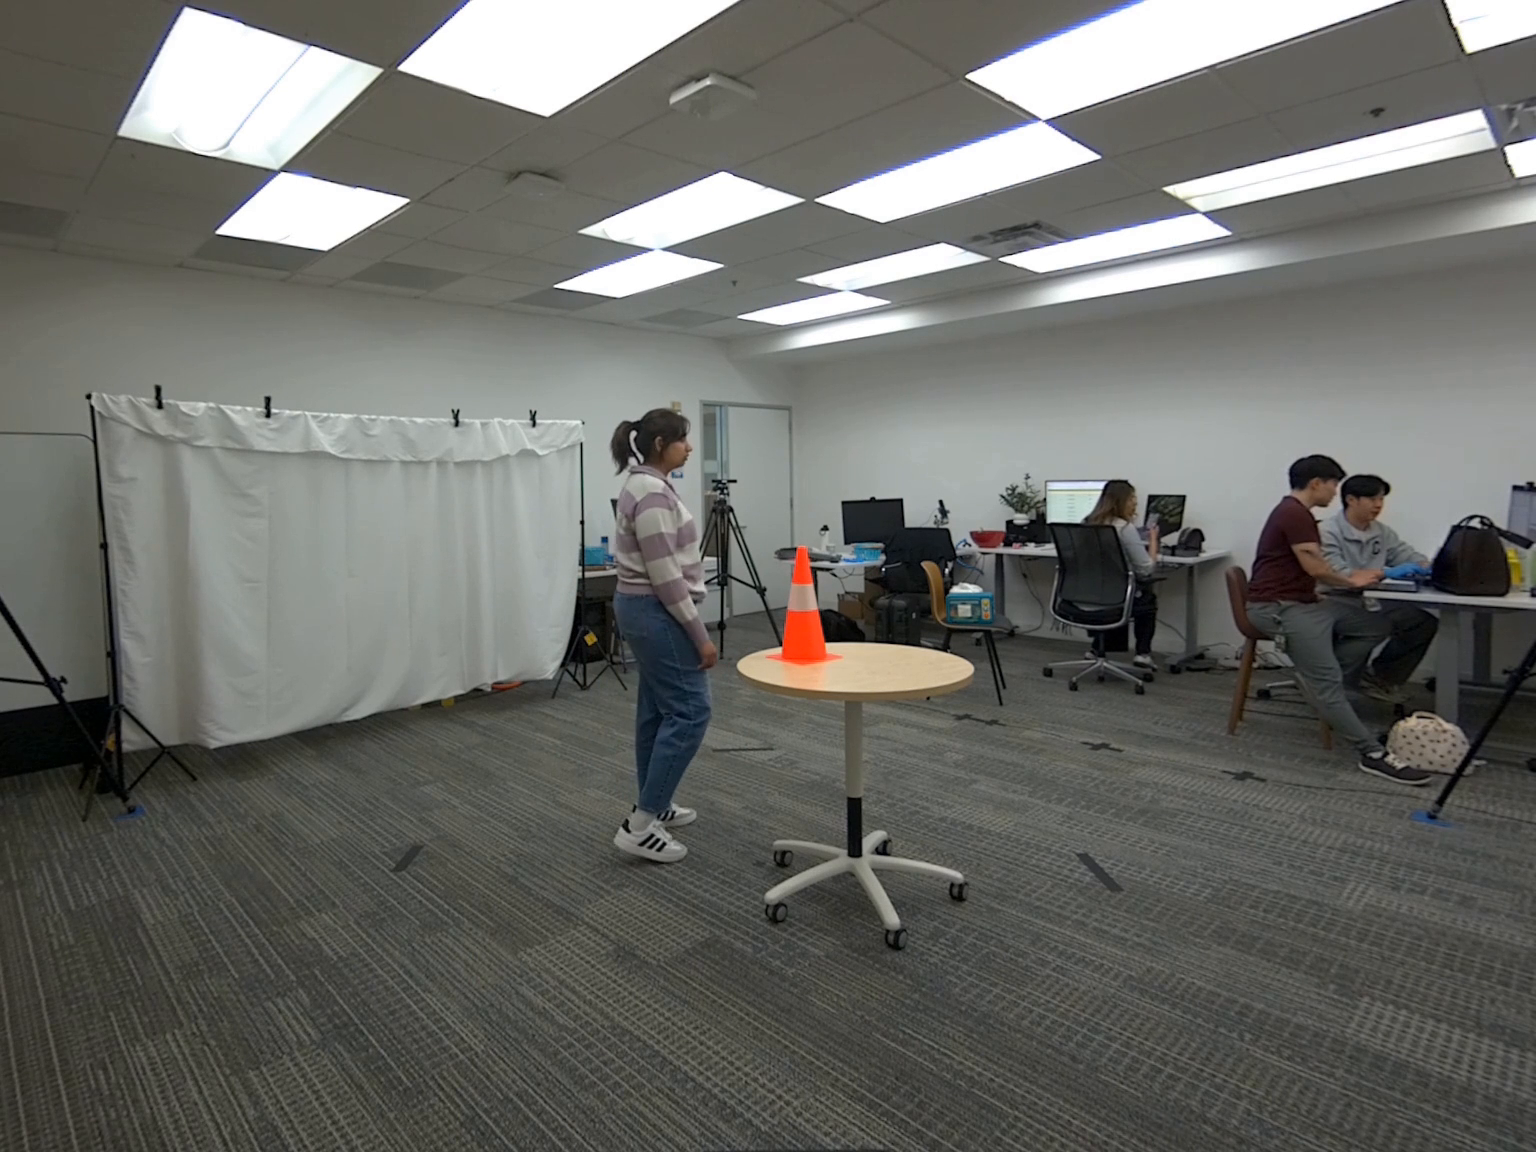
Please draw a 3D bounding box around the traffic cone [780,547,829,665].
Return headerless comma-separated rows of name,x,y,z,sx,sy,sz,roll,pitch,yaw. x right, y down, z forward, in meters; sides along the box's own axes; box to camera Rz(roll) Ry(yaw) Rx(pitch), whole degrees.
traffic cone,0.119,0.092,2.933,0.211,0.383,0.198,1,3,42
